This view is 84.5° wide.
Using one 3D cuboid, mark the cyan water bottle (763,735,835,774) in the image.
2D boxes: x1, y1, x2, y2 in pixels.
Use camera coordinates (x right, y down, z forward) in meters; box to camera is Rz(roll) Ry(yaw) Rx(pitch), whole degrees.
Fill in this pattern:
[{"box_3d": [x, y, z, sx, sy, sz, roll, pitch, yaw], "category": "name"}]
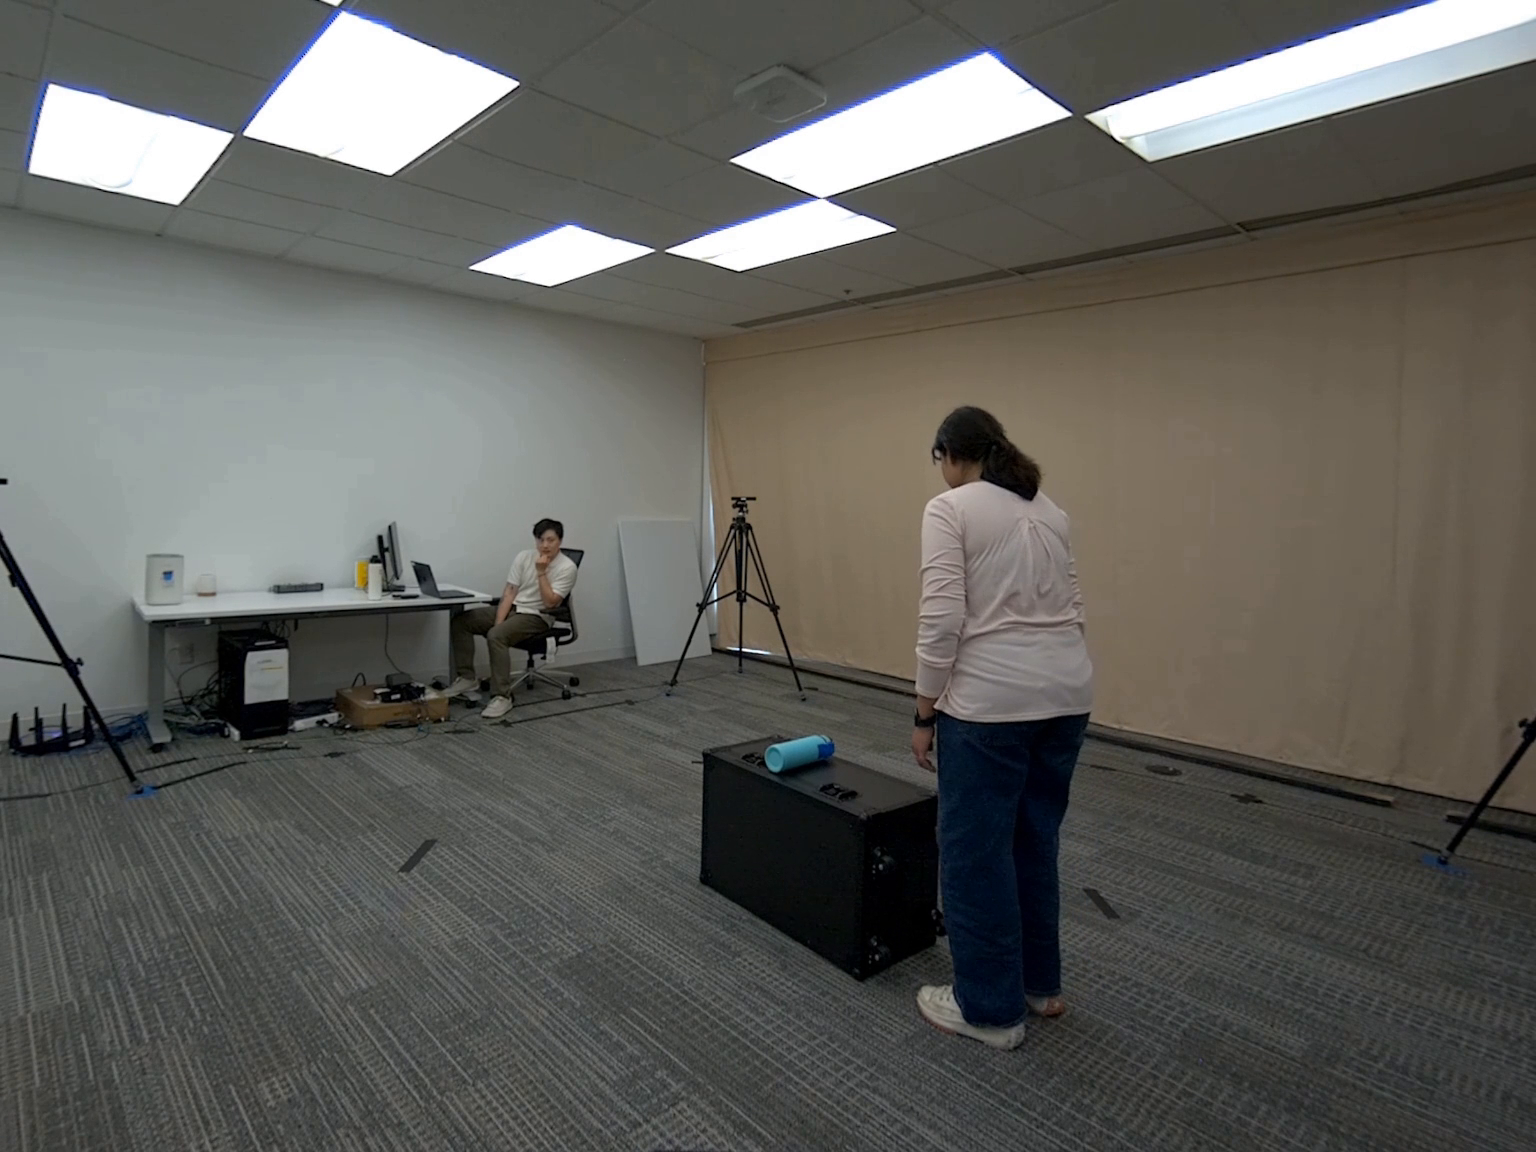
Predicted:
[{"box_3d": [0.109, 0.603, 2.887, 0.277, 0.092, 0.095, -2, 5, -44], "category": "cyan water bottle"}]
